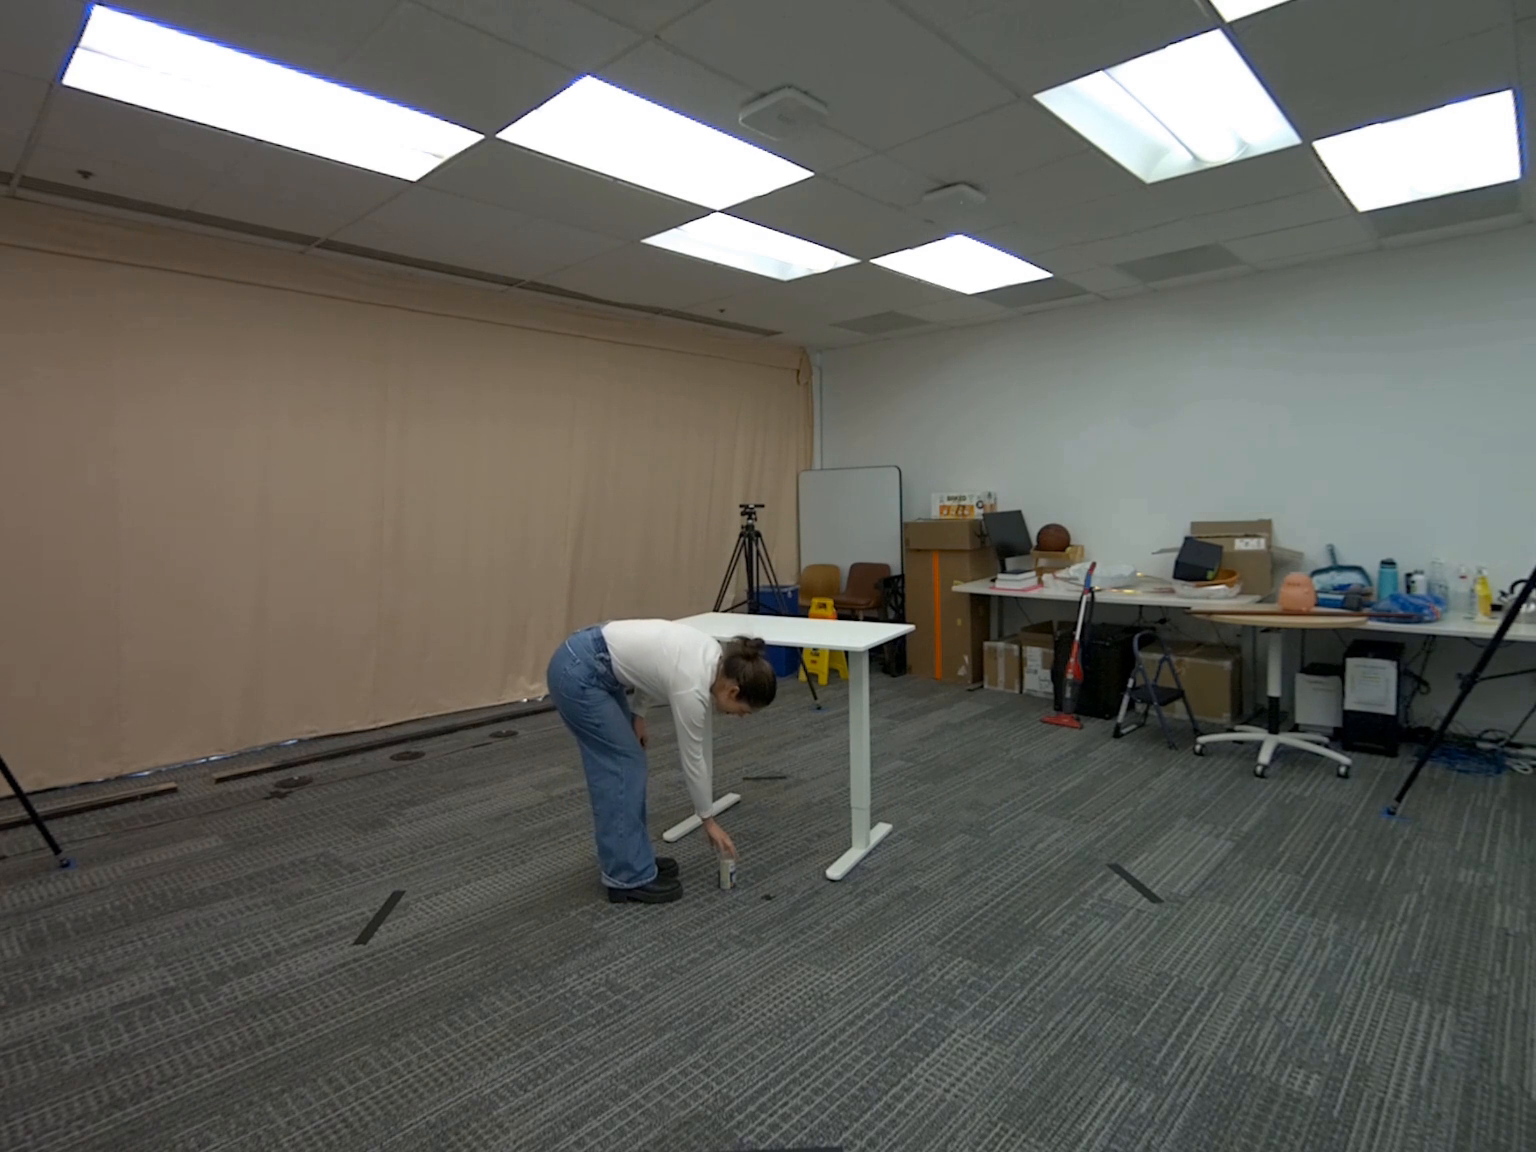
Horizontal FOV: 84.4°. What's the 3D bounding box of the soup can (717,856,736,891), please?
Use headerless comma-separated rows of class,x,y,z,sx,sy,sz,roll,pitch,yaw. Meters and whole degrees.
soup can,-0.148,1.088,3.054,0.067,0.121,0.067,-1,6,-2
